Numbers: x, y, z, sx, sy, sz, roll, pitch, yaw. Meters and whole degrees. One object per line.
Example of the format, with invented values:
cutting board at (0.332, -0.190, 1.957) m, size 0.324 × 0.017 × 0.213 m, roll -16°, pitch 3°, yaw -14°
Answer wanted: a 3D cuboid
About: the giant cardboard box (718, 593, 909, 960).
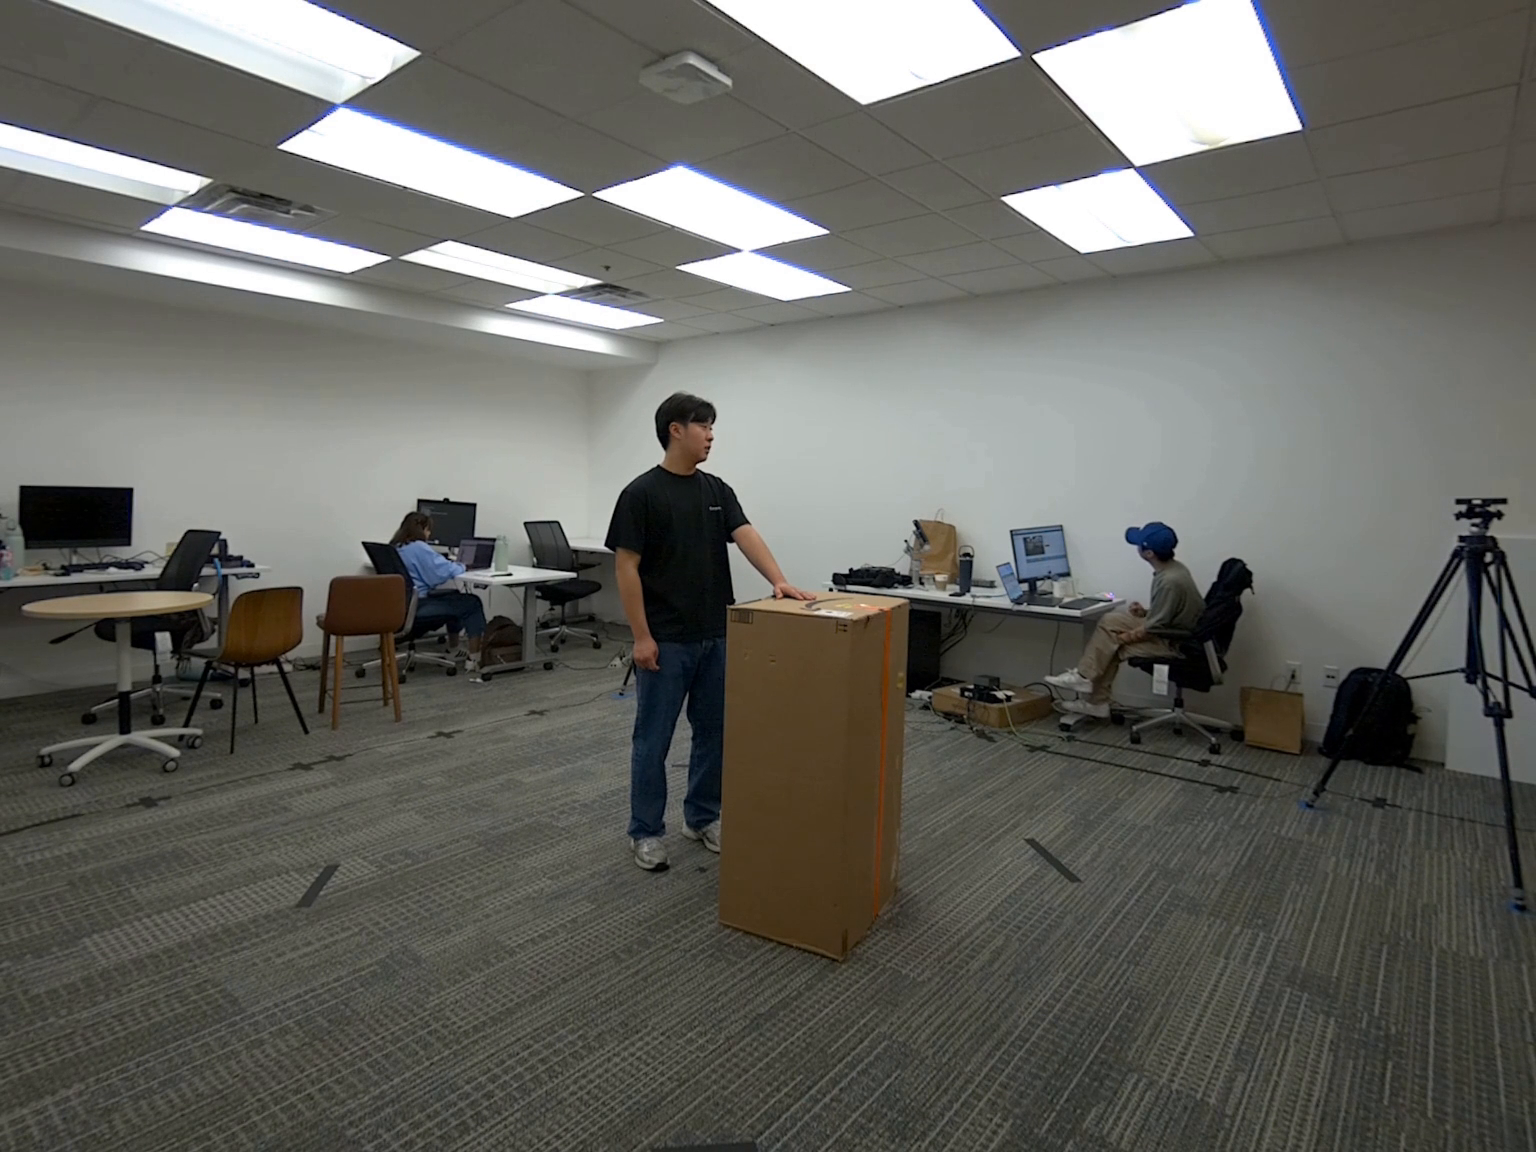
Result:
giant cardboard box at (0.162, 0.591, 2.836) m, size 0.460 × 1.024 × 0.569 m, roll 4°, pitch 4°, yaw 28°
